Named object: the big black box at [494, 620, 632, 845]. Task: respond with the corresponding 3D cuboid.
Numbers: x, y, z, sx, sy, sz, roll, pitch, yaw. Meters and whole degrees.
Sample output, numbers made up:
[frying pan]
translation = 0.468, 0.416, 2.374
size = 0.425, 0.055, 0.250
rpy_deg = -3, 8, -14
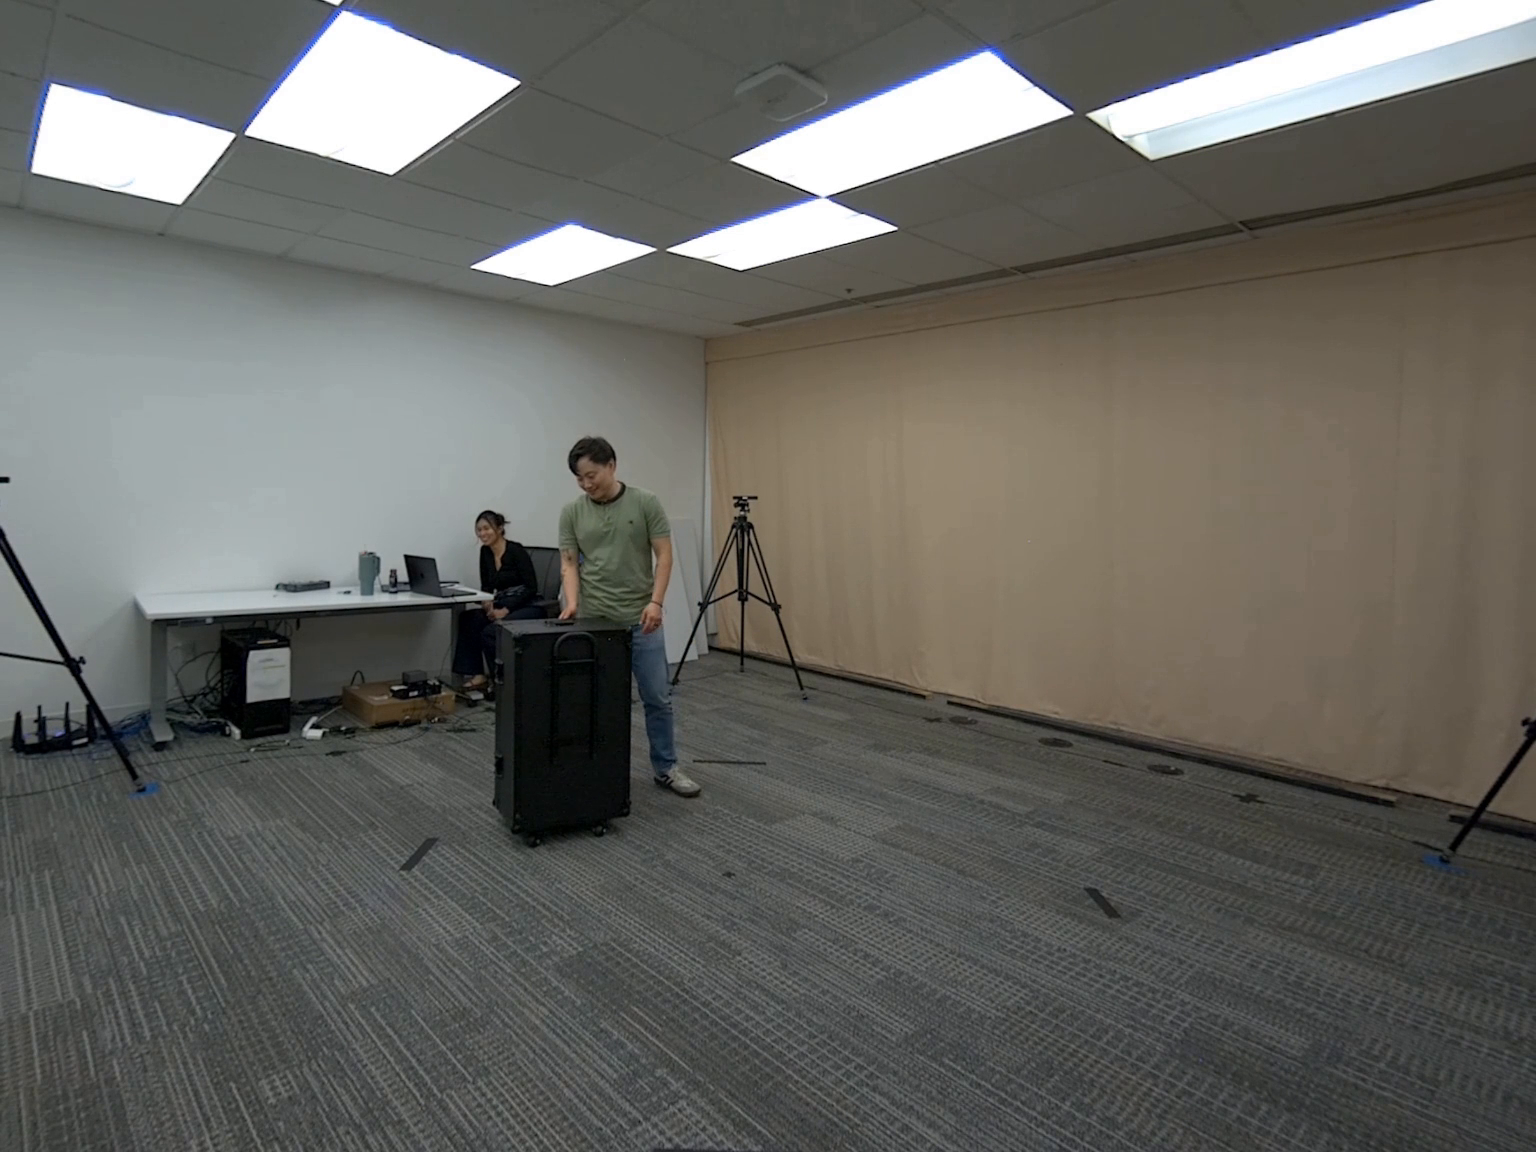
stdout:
[big black box]
translation = -0.857, 0.627, 3.490
size = 0.511, 0.859, 0.405
rpy_deg = 0, 5, -29
